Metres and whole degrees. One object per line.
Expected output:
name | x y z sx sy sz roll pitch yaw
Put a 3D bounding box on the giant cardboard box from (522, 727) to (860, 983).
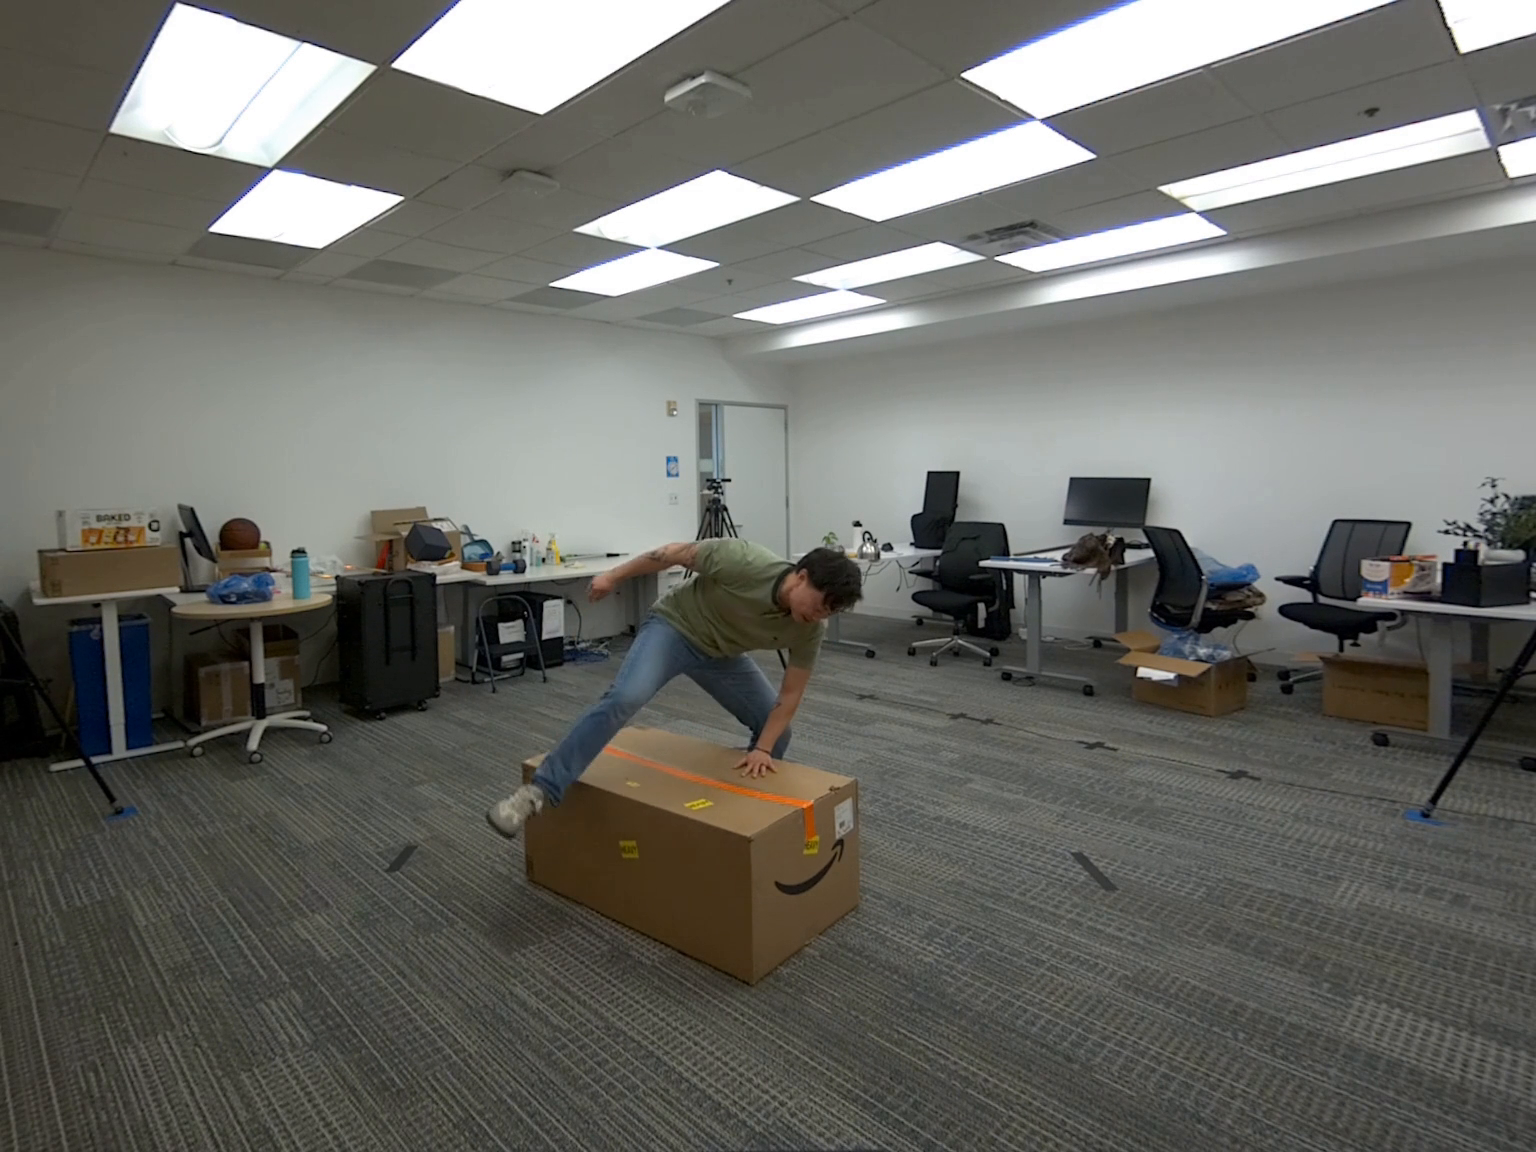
giant cardboard box | -0.279 0.861 2.890 1.057 0.424 0.563 4 7 39
